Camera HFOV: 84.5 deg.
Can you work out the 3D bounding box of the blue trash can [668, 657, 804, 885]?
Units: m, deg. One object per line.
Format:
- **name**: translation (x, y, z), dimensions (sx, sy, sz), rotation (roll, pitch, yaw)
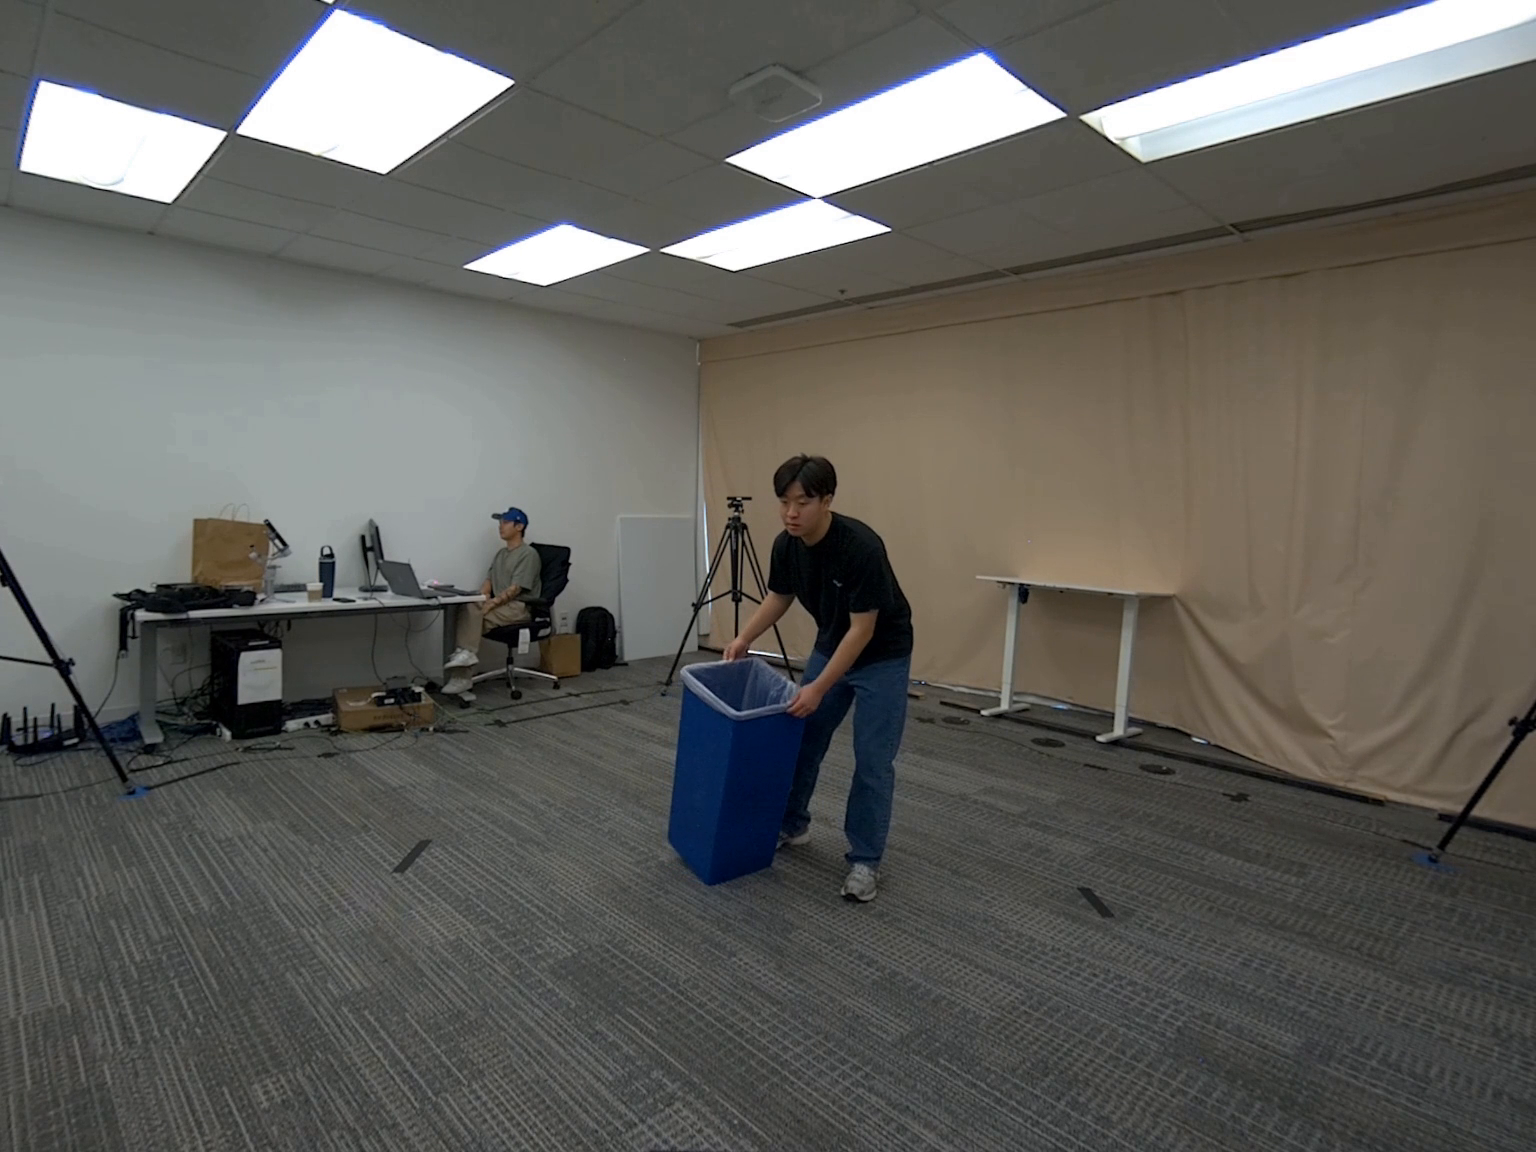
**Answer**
- **blue trash can**: translation (-0.136, 0.724, 3.104), dimensions (0.366, 0.707, 0.390), rotation (-2, 19, -38)
